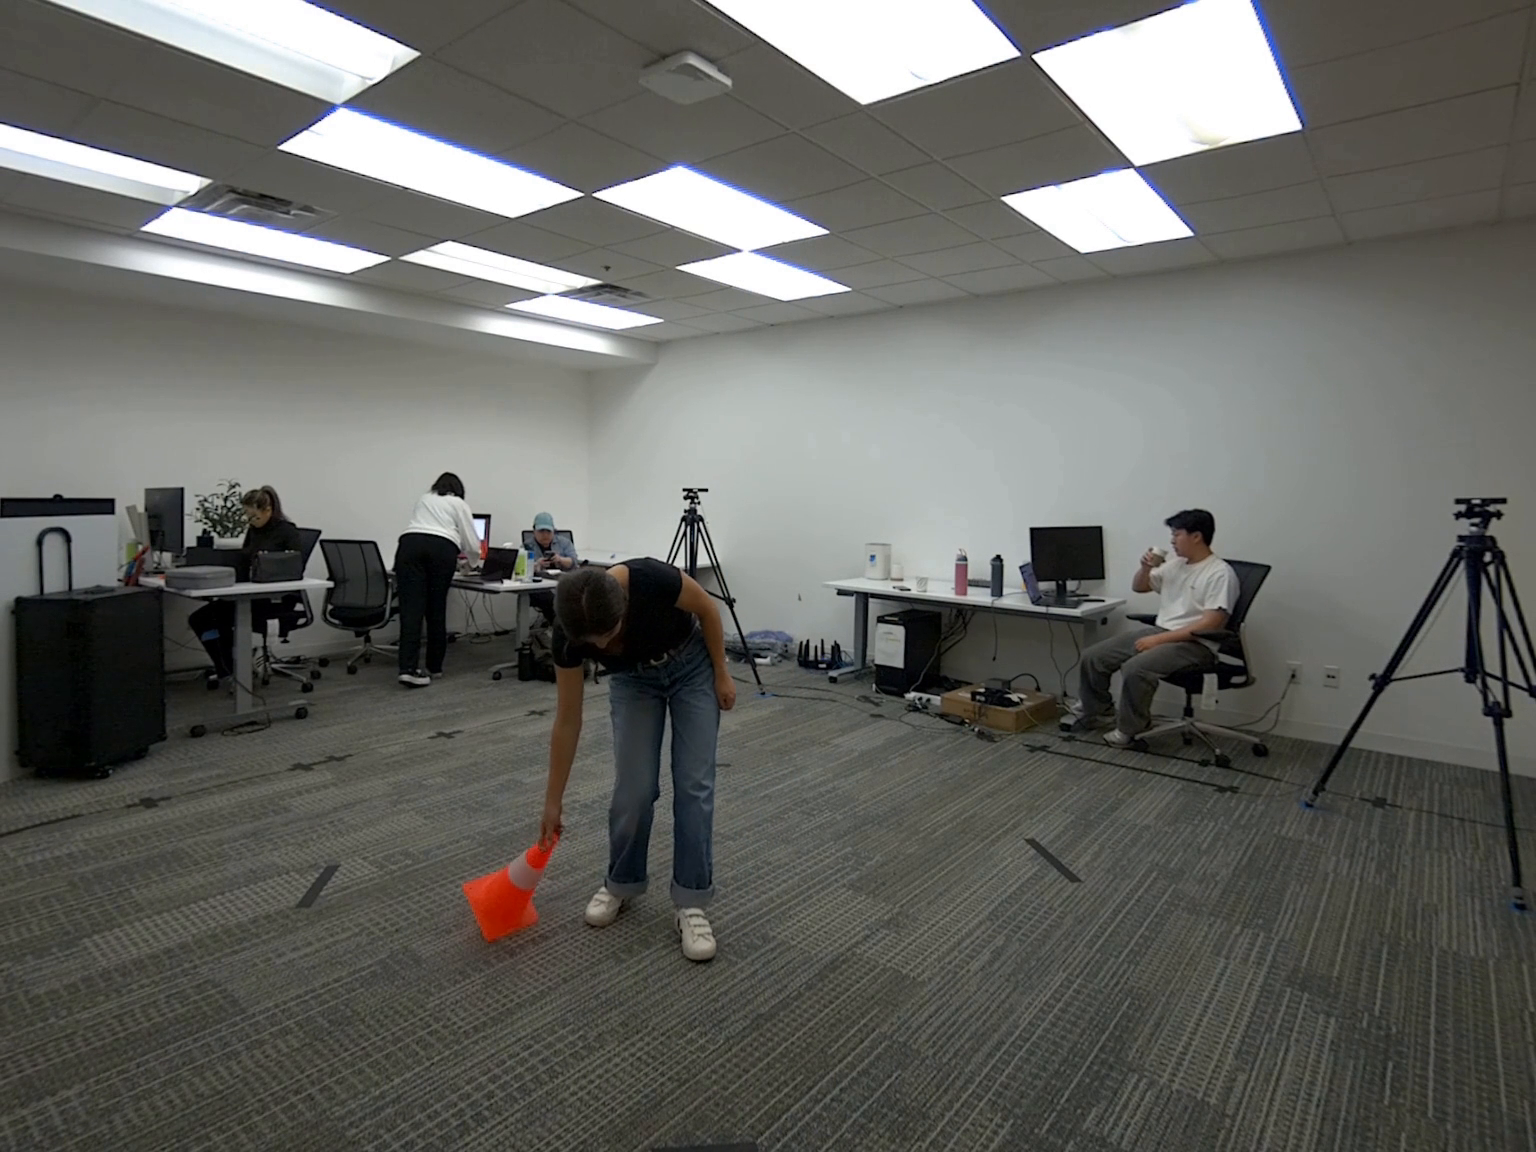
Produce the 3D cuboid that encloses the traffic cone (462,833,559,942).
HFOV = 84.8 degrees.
[{"bbox_3d":[-0.742,0.901,2.625,0.196,0.382,0.213,8,35,-44],"label":"traffic cone"}]
